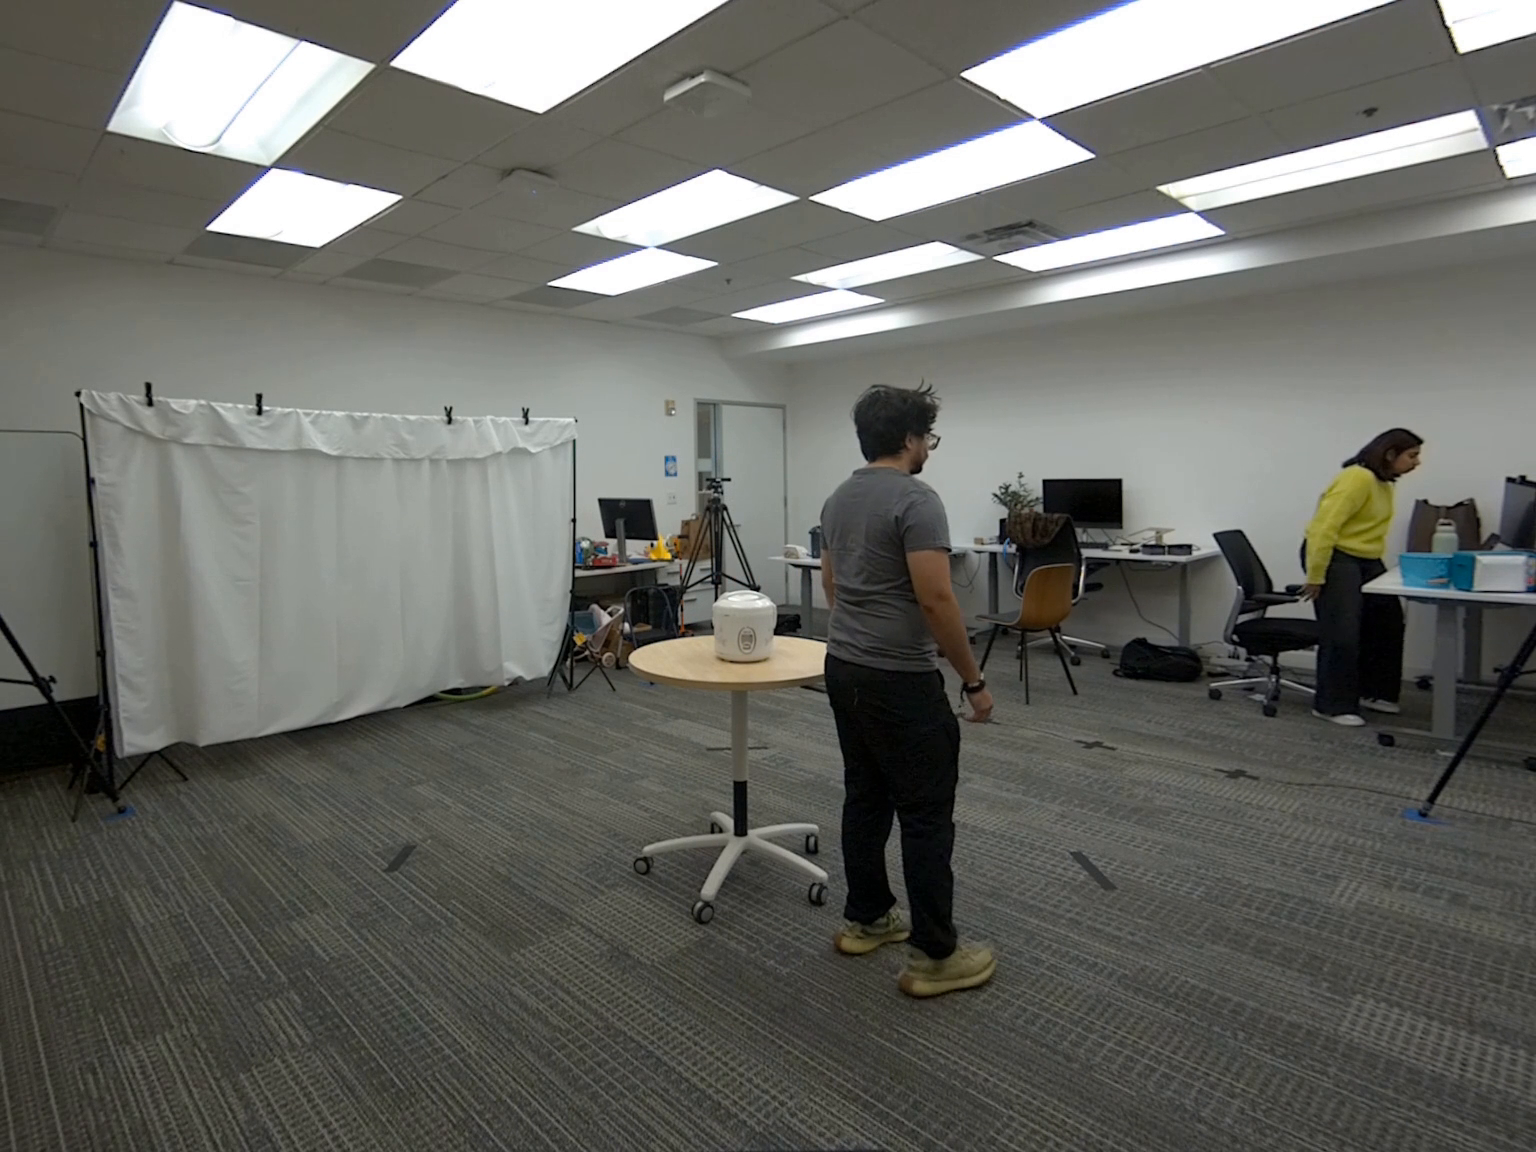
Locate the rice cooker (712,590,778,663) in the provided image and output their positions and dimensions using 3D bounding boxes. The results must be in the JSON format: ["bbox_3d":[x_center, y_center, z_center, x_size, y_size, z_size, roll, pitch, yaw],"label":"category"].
[{"bbox_3d":[-0.078,0.165,2.930,0.219,0.232,0.219,-1,5,-5],"label":"rice cooker"}]
